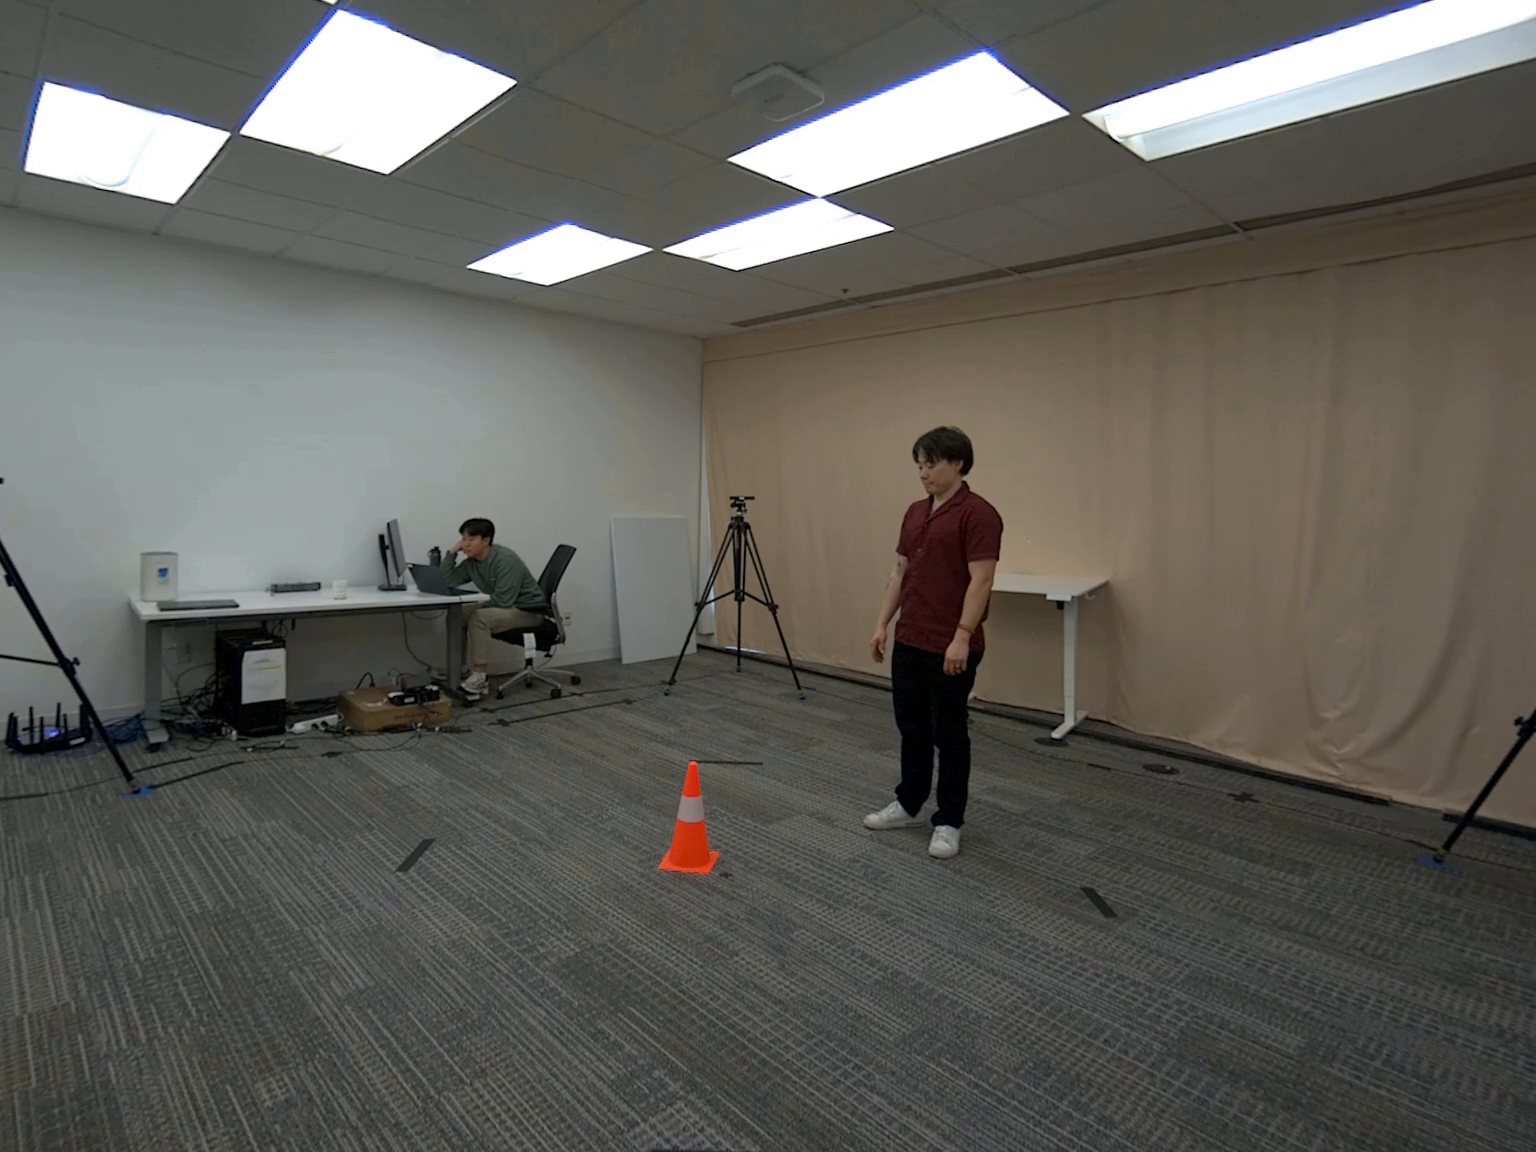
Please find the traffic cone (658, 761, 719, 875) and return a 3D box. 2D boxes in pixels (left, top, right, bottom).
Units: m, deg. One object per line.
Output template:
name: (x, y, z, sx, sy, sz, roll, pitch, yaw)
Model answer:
traffic cone: (-0.310, 0.902, 3.219, 0.207, 0.383, 0.201, 1, 3, 13)
